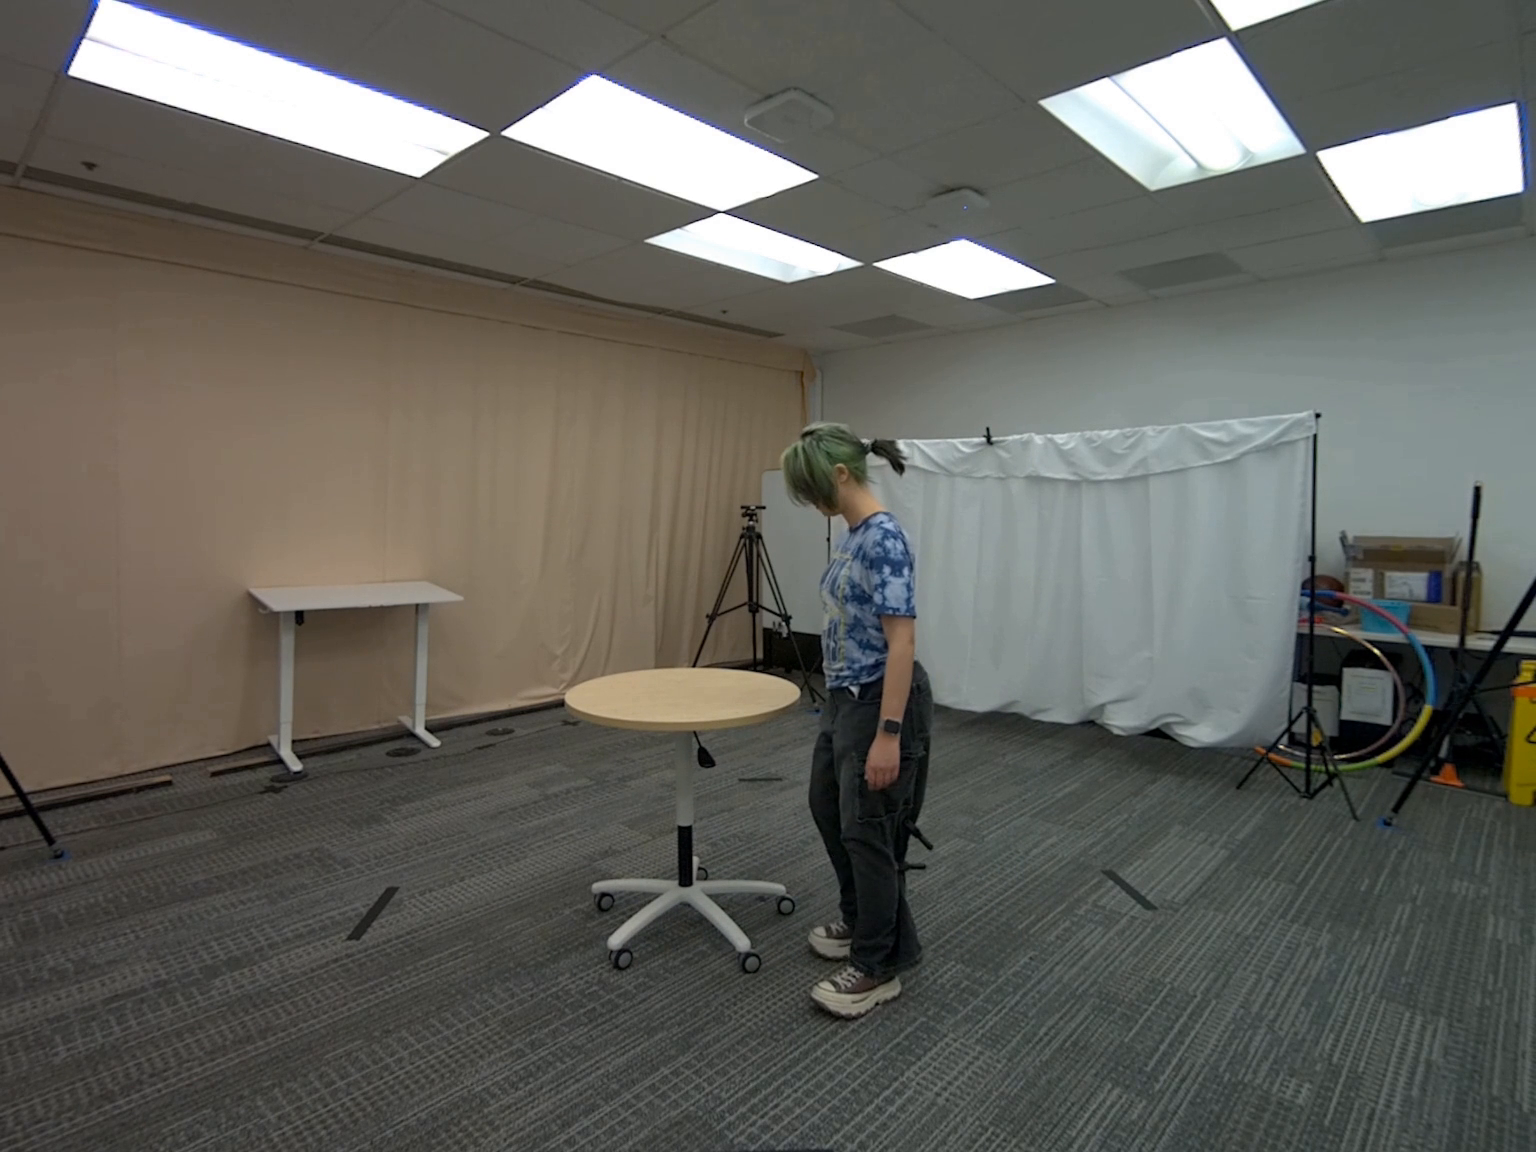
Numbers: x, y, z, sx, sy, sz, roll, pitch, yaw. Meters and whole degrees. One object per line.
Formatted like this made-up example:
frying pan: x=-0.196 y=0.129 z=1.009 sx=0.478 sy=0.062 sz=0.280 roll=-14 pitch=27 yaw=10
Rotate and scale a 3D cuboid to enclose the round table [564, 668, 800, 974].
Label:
round table: x=-0.273 y=0.773 z=2.777 sx=0.763 sy=0.792 sz=0.766 roll=0 pitch=4 yaw=-2
